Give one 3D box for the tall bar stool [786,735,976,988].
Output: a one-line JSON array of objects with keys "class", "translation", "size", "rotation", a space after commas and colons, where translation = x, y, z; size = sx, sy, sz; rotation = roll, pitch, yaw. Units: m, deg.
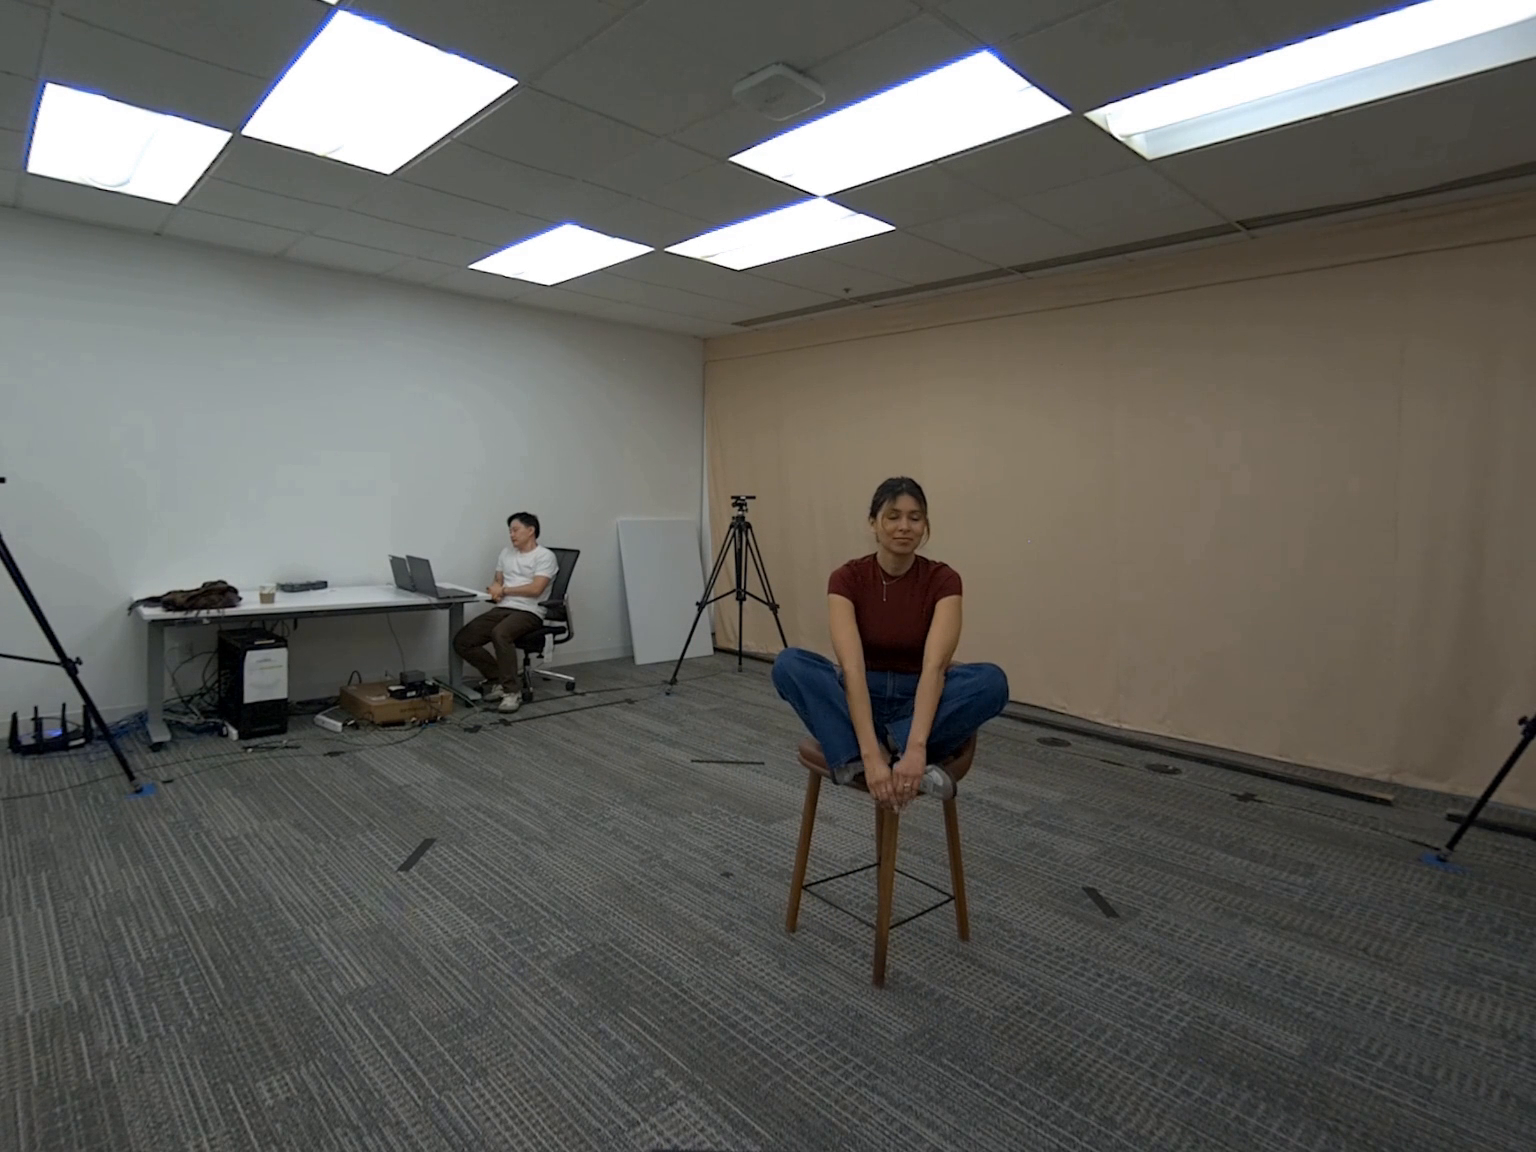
[{"class": "tall bar stool", "translation": [0.373, 0.722, 2.671], "size": [0.456, 0.888, 0.468], "rotation": [1, 4, -40]}]
